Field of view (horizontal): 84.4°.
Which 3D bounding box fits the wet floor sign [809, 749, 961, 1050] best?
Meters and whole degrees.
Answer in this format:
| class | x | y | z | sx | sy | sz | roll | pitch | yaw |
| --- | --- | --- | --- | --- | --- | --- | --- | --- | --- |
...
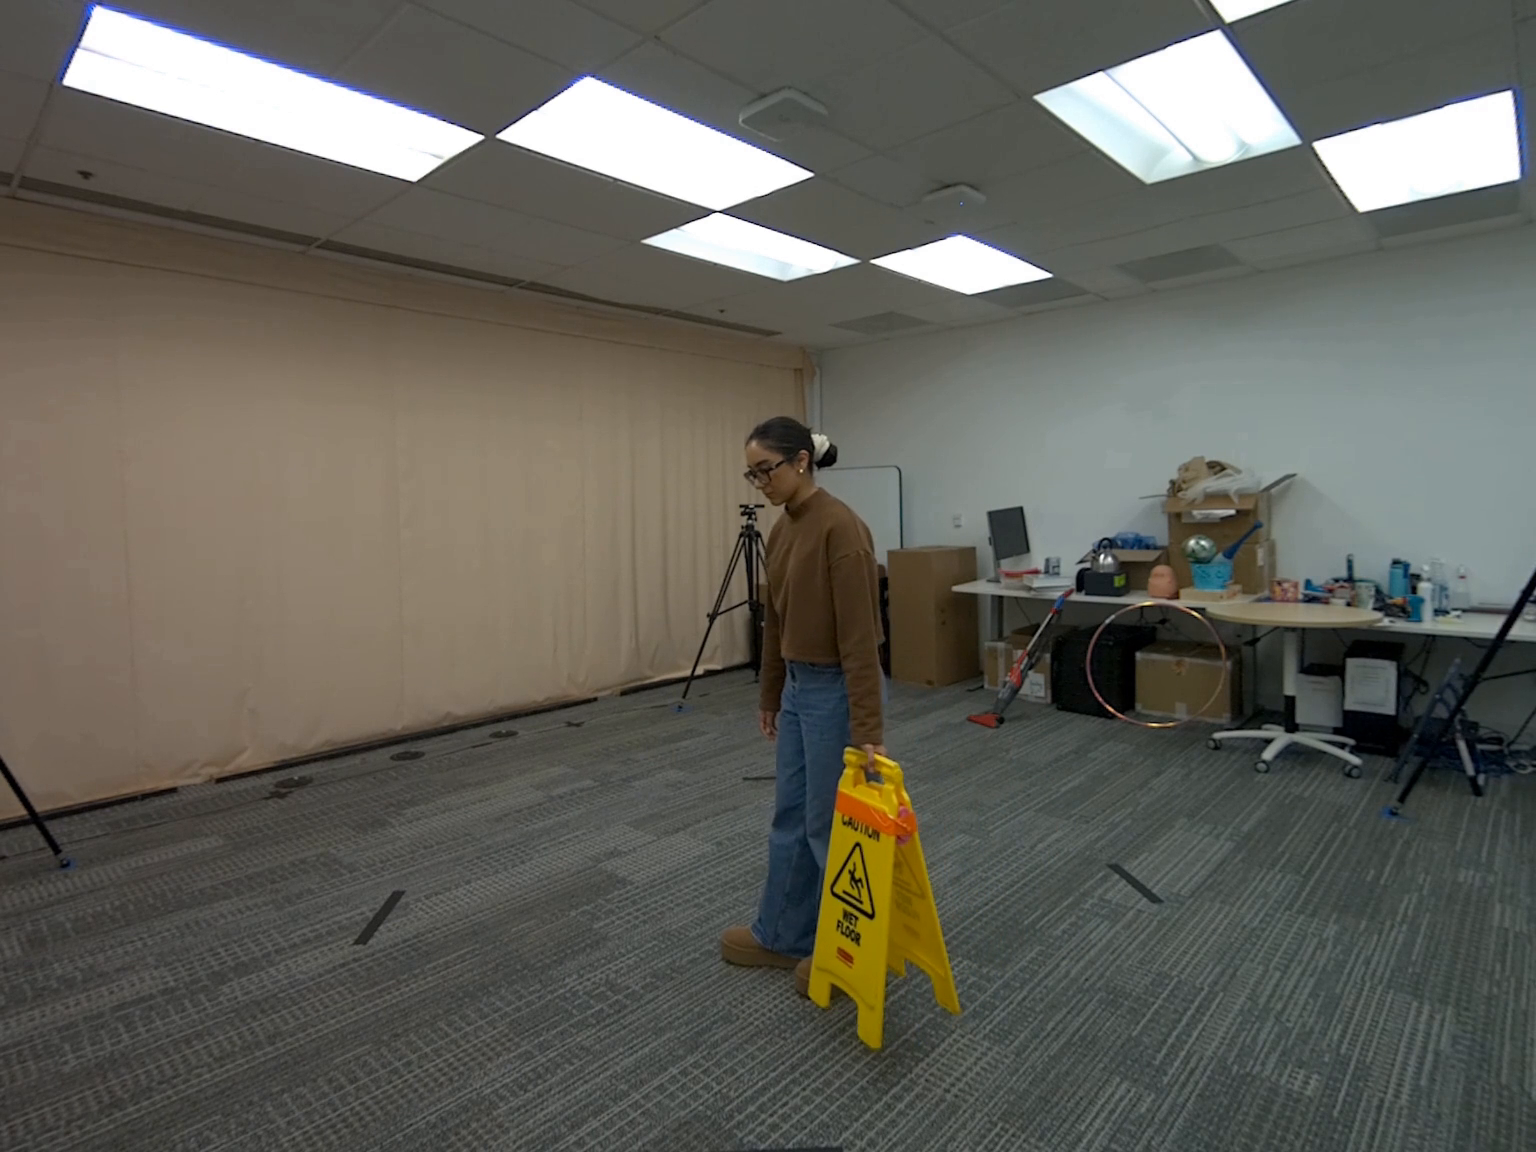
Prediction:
| class | x | y | z | sx | sy | sz | roll | pitch | yaw |
| --- | --- | --- | --- | --- | --- | --- | --- | --- | --- |
| wet floor sign | 0.281 | 0.770 | 2.140 | 0.282 | 0.645 | 0.290 | -4 | 3 | -31 |
